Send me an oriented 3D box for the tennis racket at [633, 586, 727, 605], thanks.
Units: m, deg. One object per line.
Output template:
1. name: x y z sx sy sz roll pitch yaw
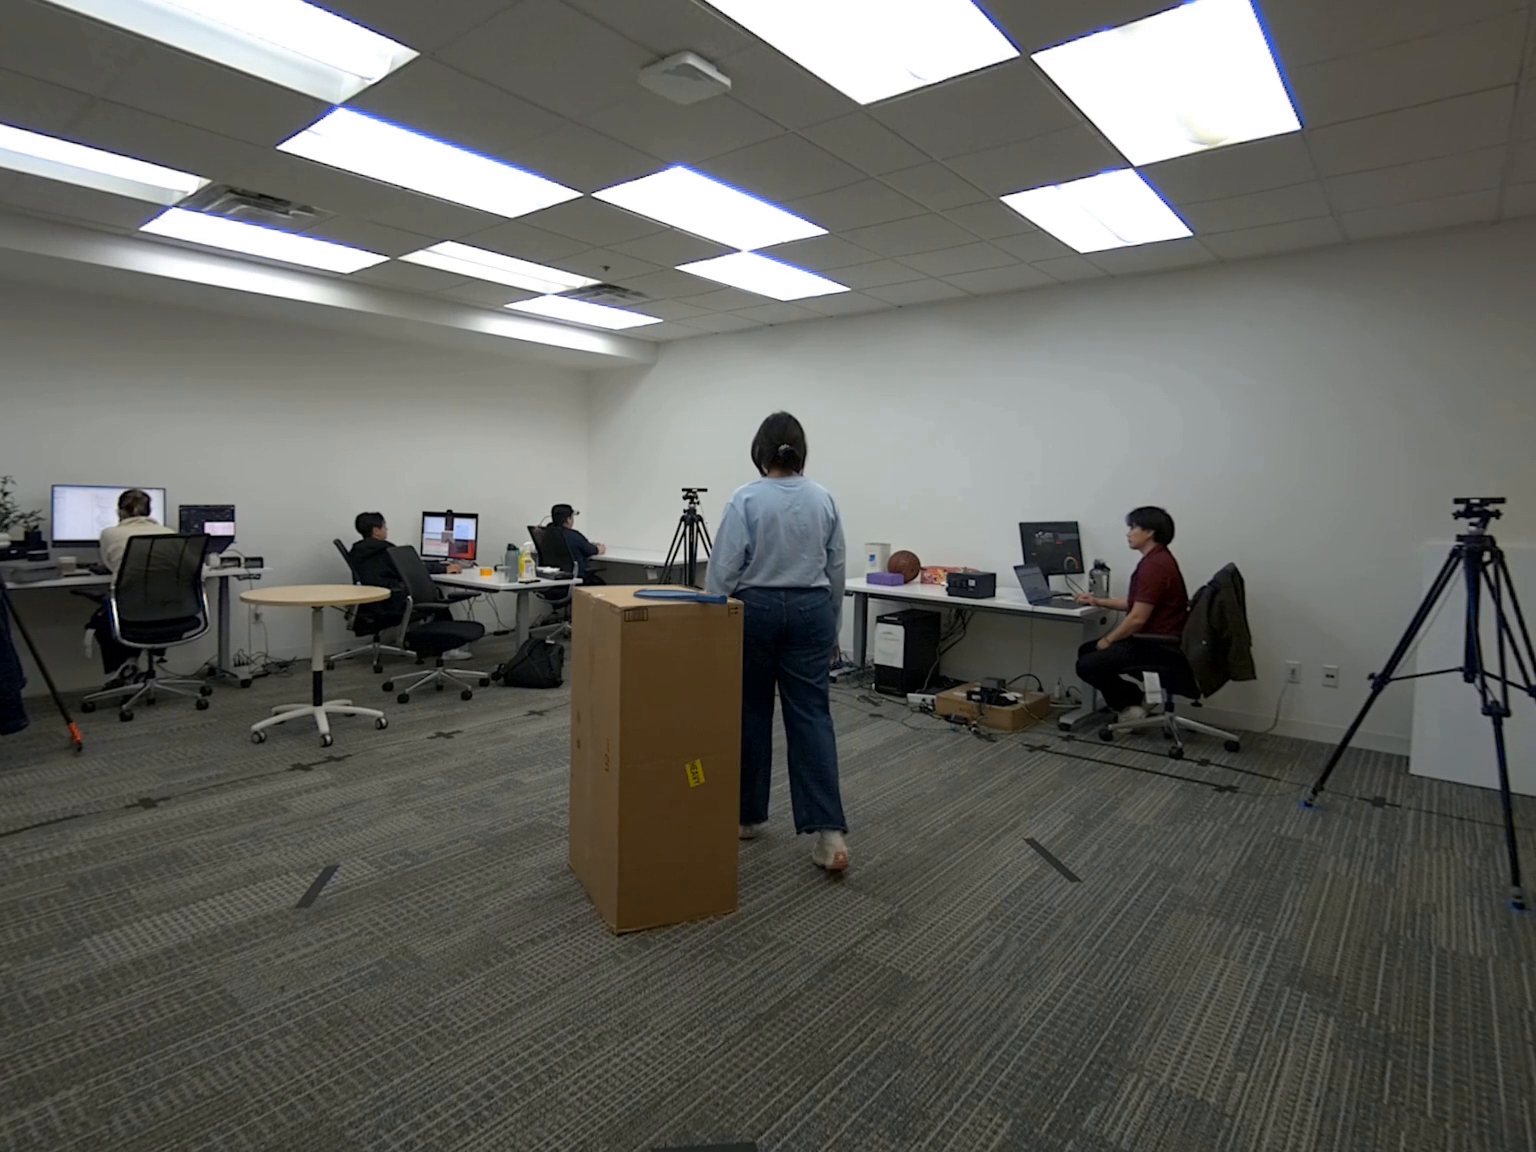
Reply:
1. tennis racket: -0.292 0.063 2.818 0.447 0.032 0.207 3 5 45
